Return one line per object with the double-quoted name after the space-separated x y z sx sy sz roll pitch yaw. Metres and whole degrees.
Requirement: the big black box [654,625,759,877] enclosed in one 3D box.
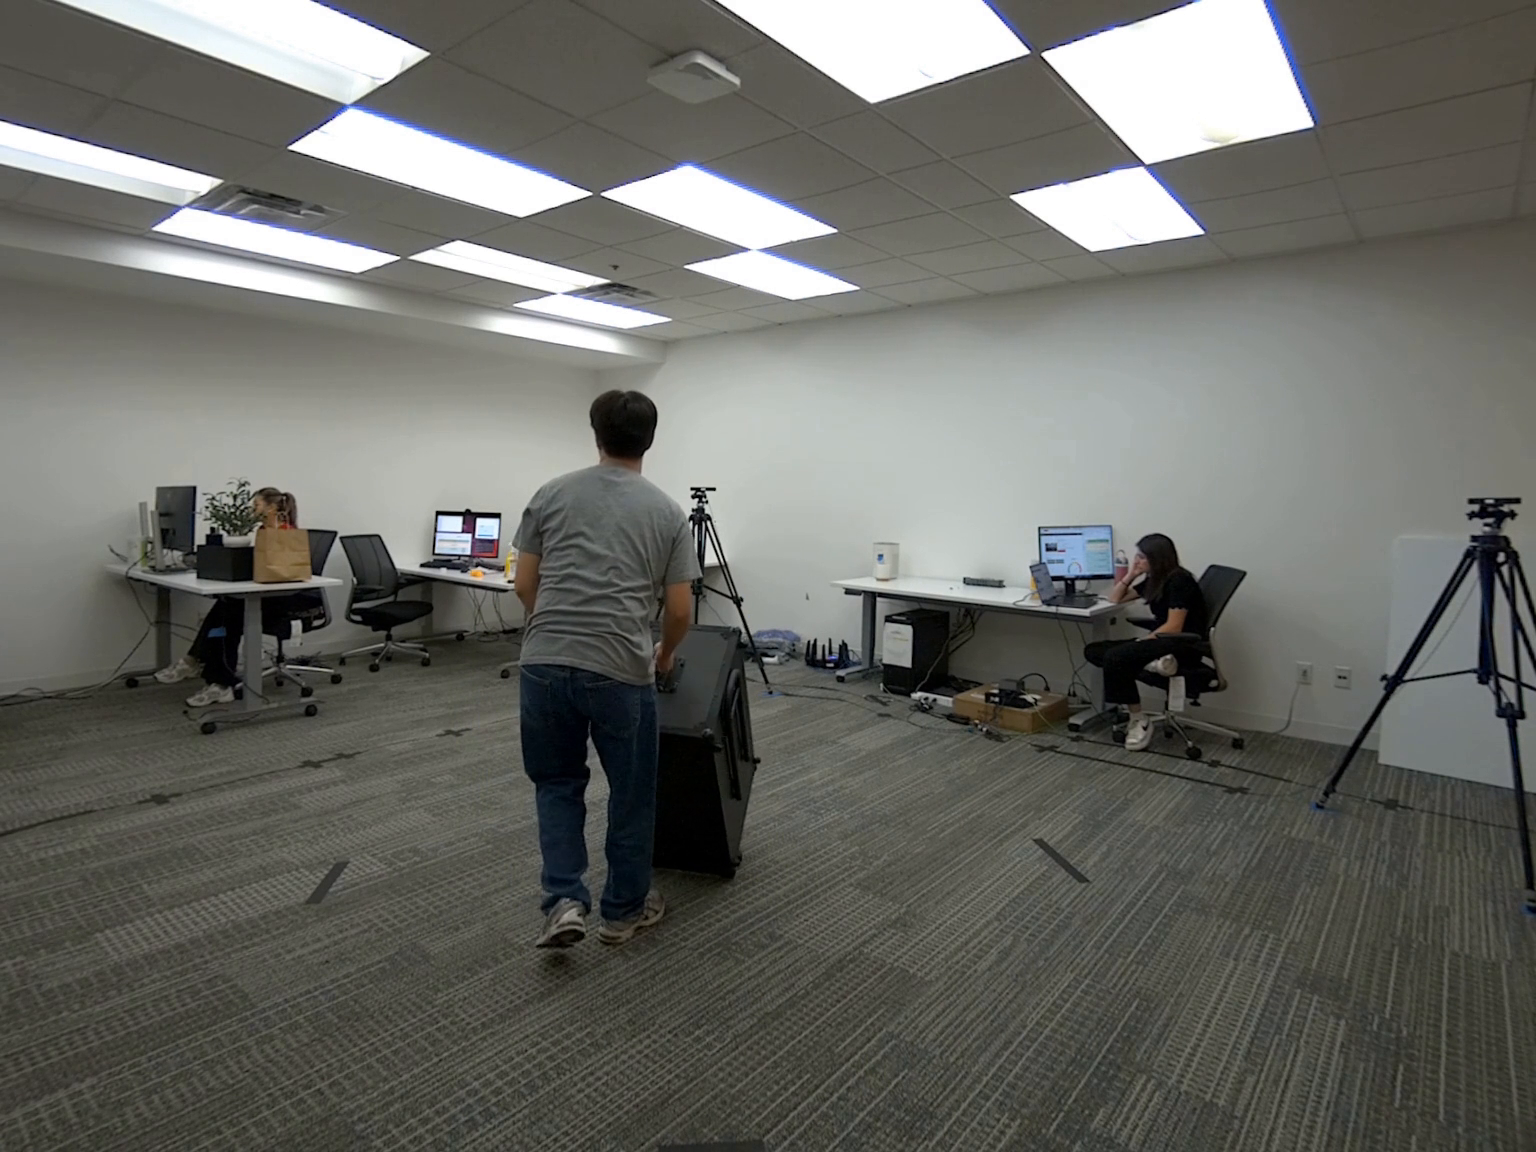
-0.279 0.602 2.994 0.401 0.835 0.531 3 40 10 "big black box"
